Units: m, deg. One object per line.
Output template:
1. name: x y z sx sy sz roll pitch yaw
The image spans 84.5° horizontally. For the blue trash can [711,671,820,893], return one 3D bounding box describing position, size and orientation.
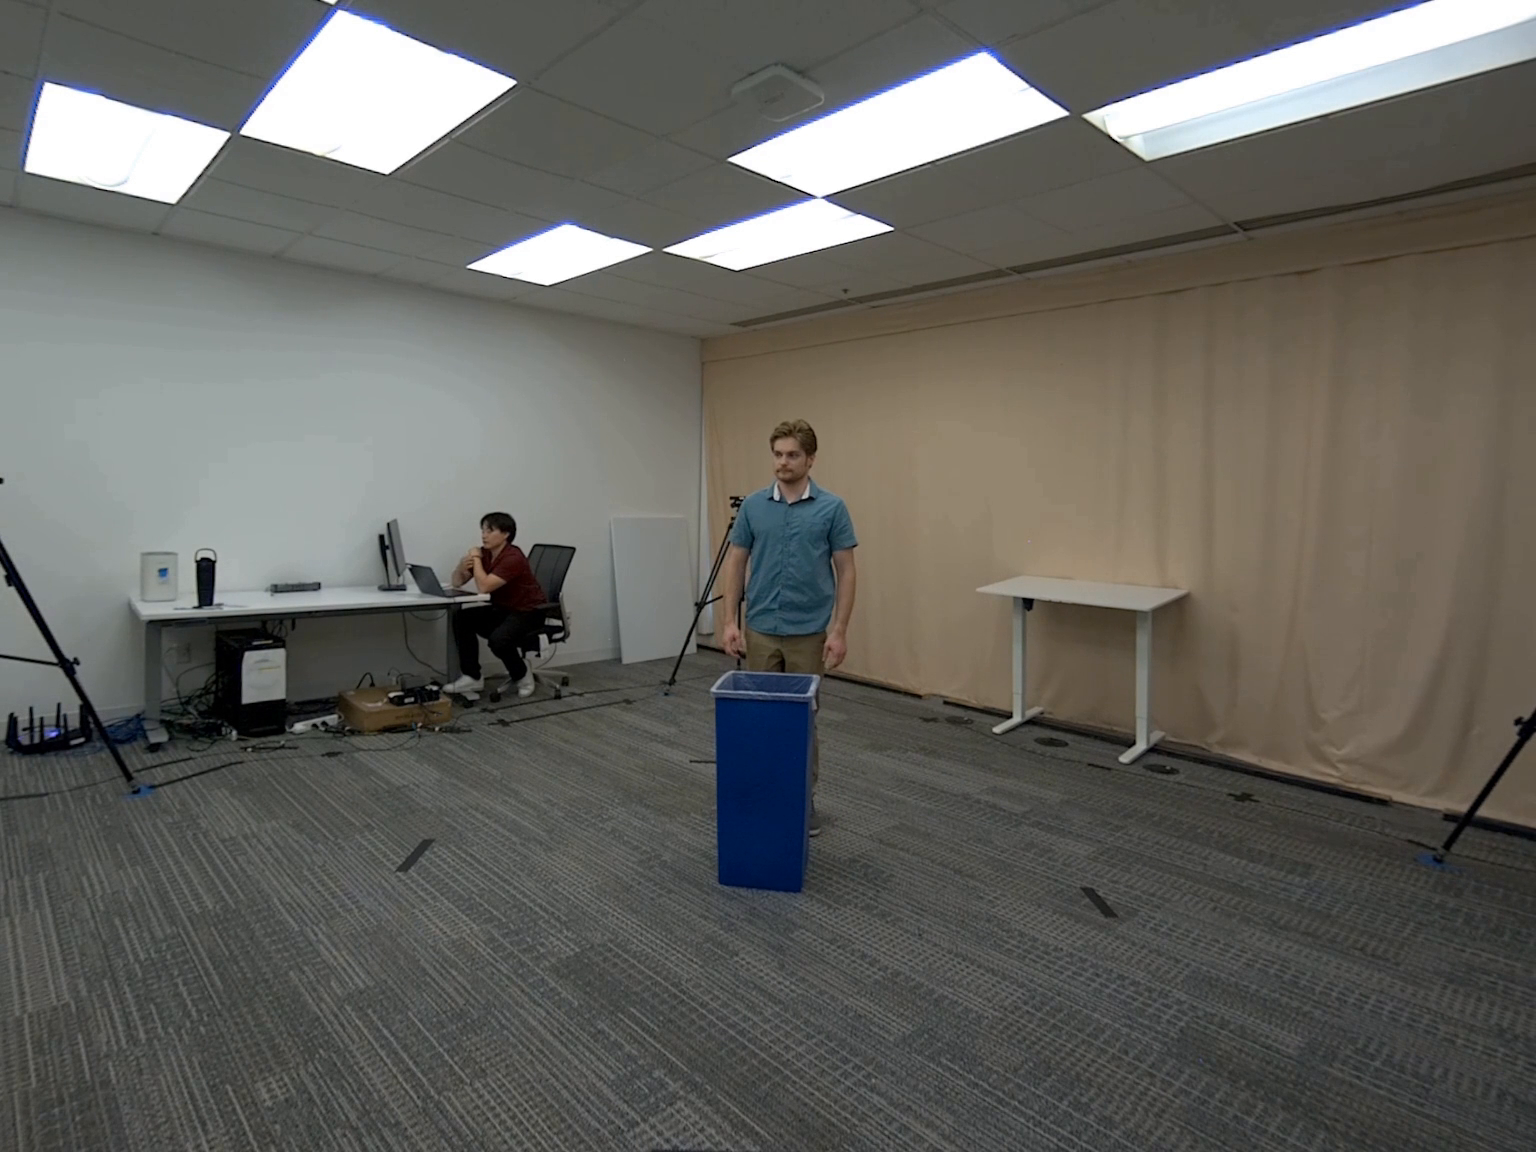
1. blue trash can: -0.021 0.746 3.135 0.381 0.711 0.372 1 4 9
